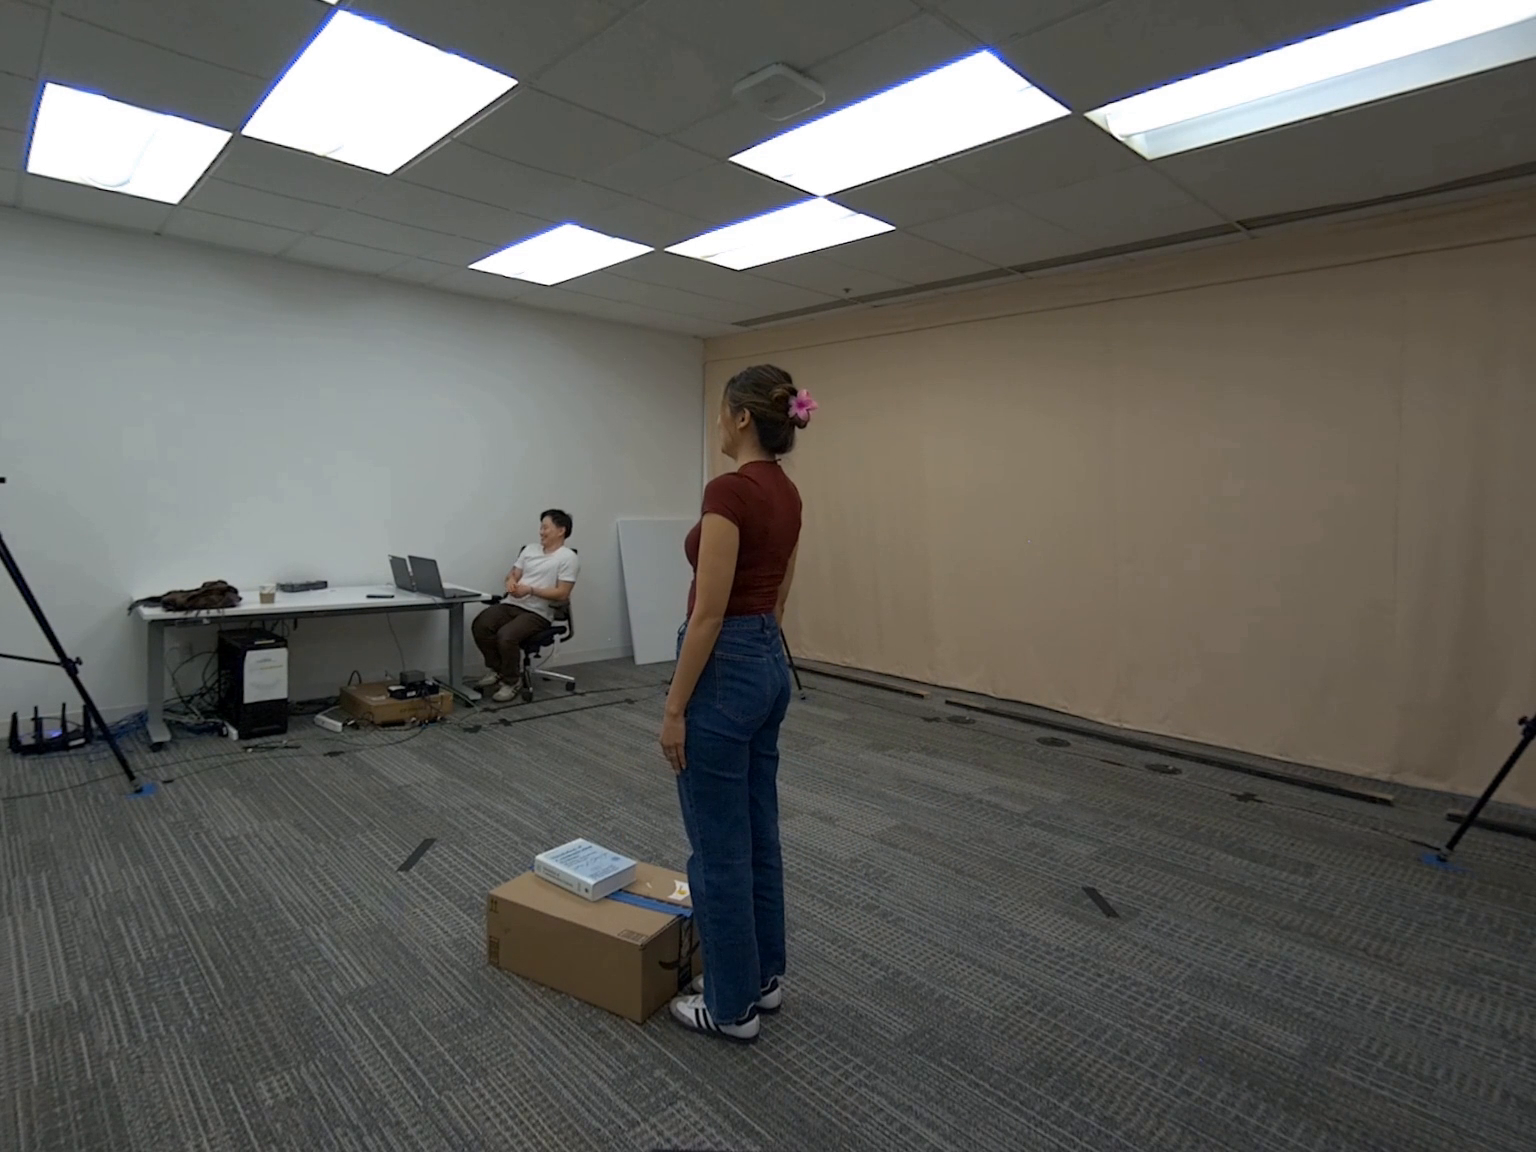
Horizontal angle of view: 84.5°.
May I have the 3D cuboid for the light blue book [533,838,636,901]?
[{"bbox_3d":[-0.563,0.896,2.589,0.267,0.059,0.187,7,7,36],"label":"light blue book"}]
